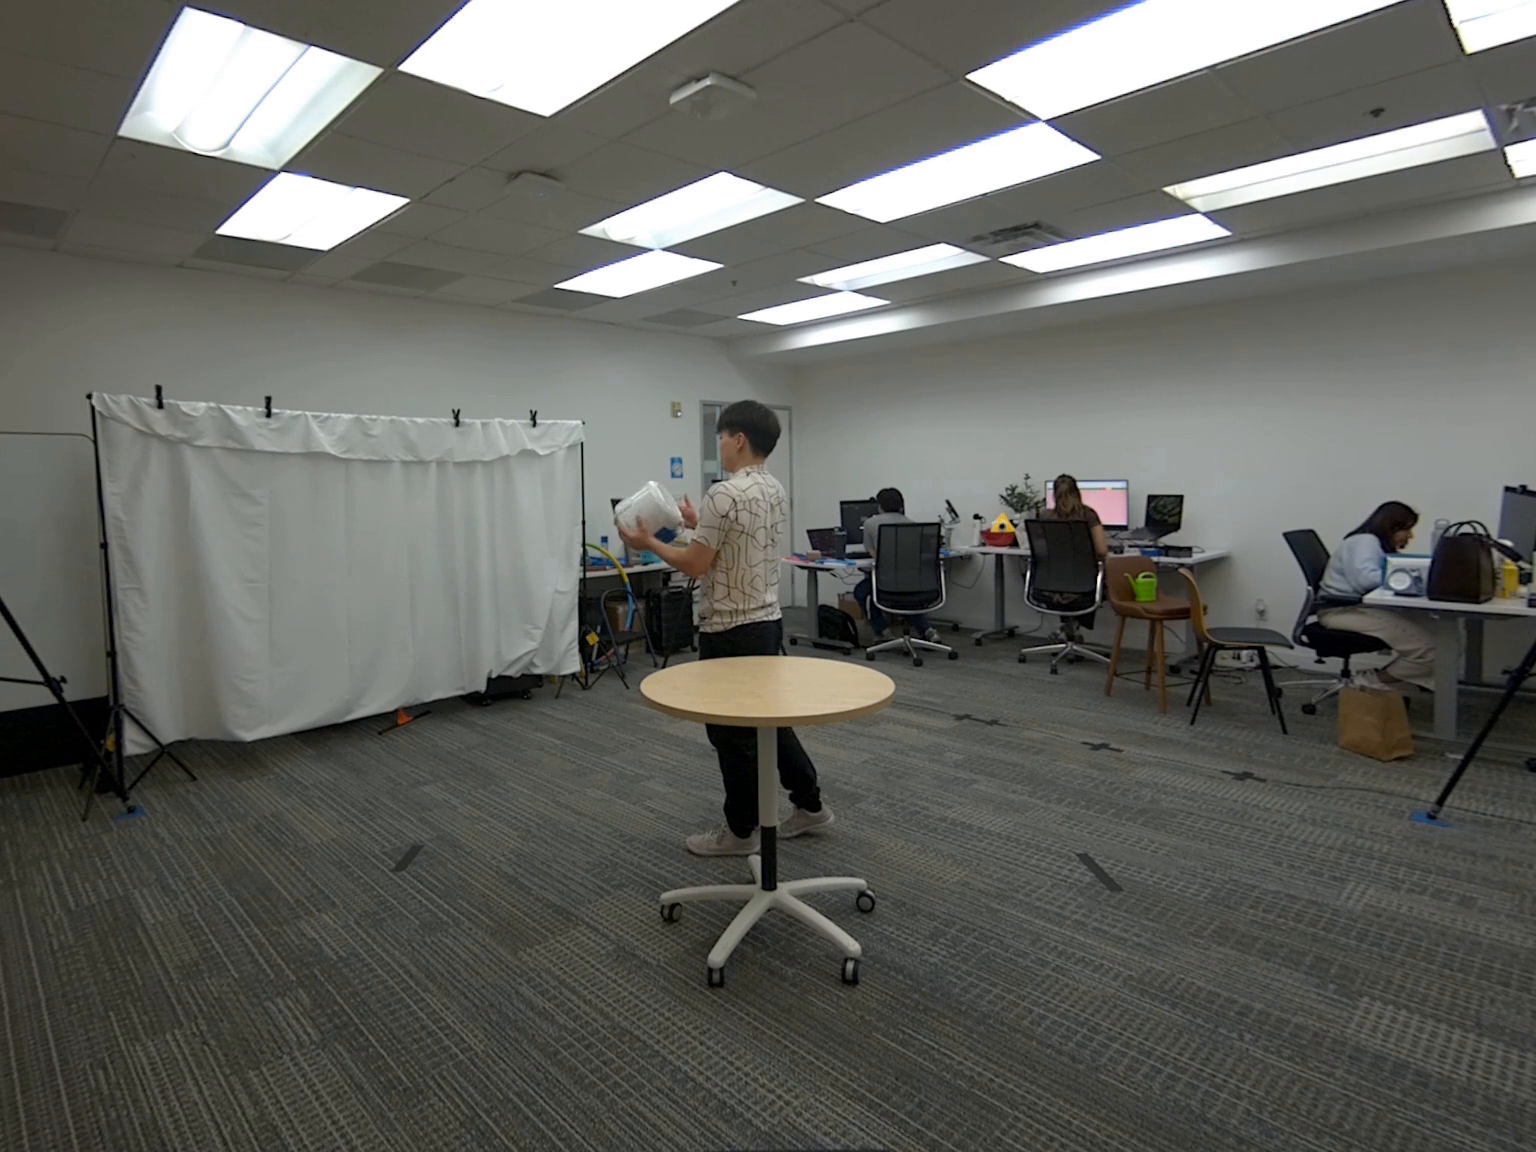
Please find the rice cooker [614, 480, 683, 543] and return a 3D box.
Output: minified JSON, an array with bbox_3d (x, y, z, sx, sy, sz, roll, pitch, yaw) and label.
[{"bbox_3d":[-0.462,-0.228,3.288,0.233,0.225,0.212,-34,-44,9],"label":"rice cooker"}]
